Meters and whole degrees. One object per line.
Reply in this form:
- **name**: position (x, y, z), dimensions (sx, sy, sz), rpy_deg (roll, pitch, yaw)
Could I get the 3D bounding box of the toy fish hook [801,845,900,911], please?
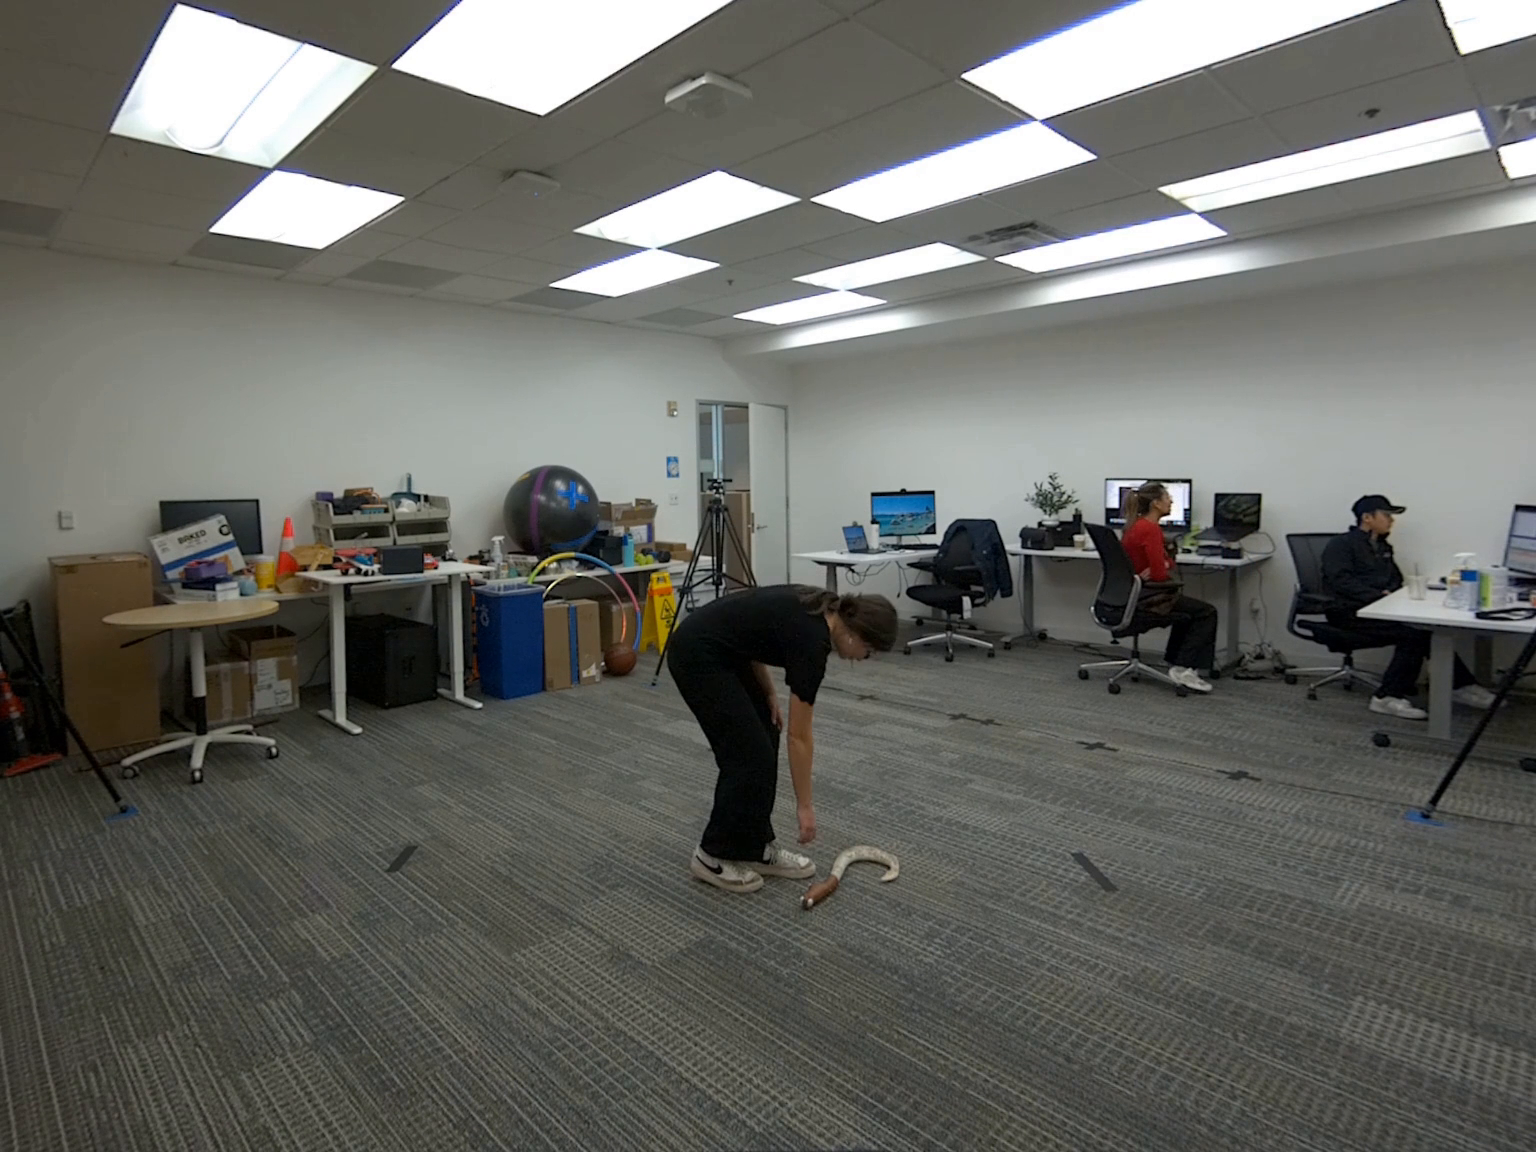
- **toy fish hook**: position (0.287, 1.033, 2.924), dimensions (0.231, 0.048, 0.495), rpy_deg (2, 7, 32)
